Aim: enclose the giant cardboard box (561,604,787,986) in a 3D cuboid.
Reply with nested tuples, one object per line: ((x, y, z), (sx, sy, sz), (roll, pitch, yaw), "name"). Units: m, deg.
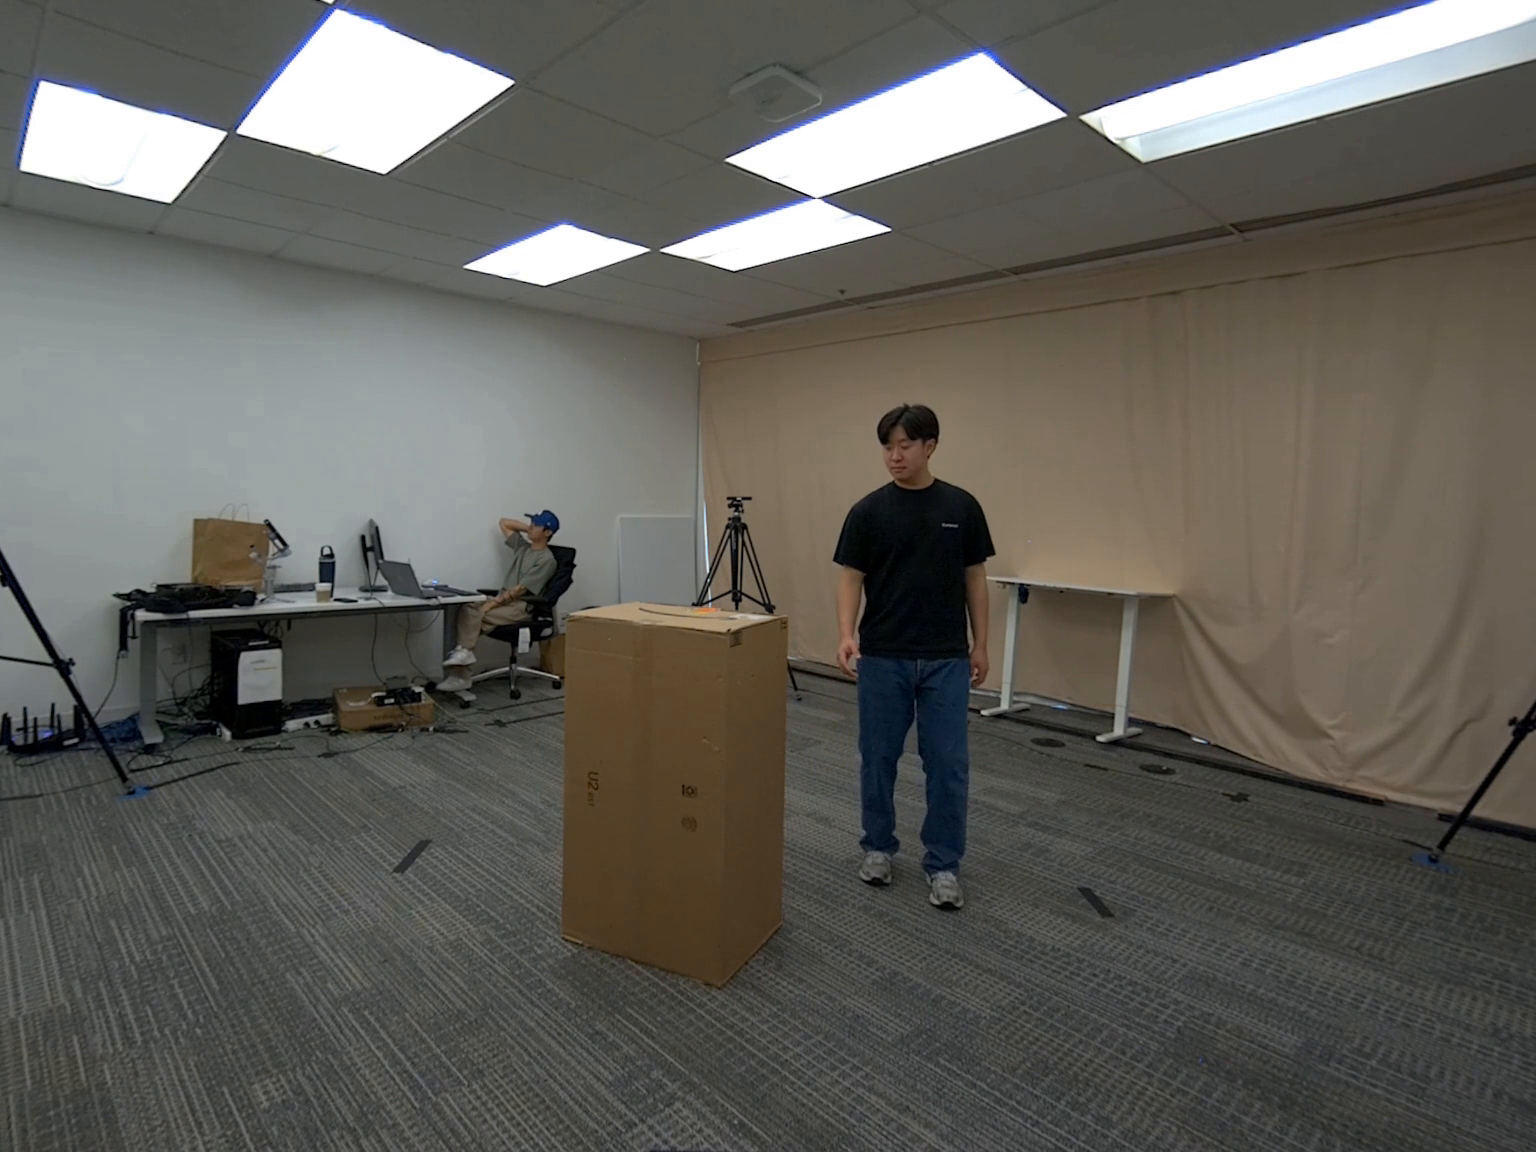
((-0.295, 0.631, 2.676), (0.596, 1.025, 0.438), (3, 2, 28), "giant cardboard box")
